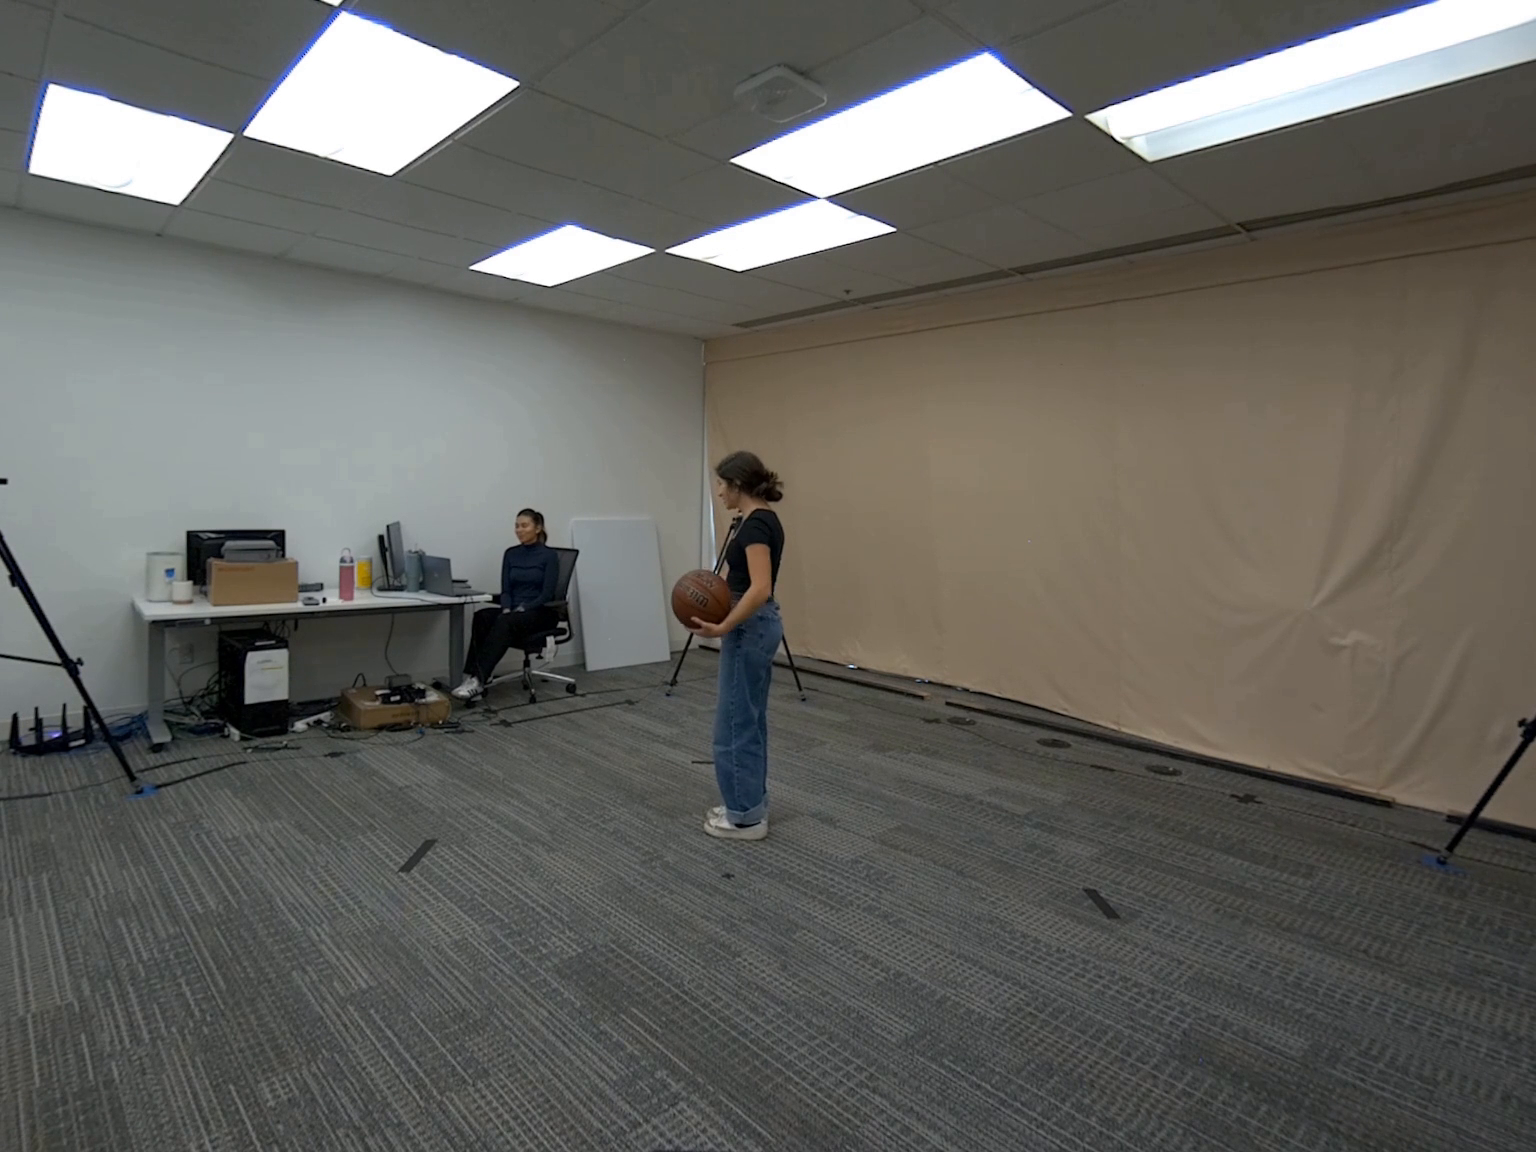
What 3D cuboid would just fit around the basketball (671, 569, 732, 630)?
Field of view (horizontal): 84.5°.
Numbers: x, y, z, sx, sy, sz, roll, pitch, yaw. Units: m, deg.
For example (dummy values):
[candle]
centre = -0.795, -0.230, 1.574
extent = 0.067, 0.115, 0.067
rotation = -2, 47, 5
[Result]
[basketball]
centre = -0.265, 0.095, 3.302
extent = 0.236, 0.235, 0.237
rotation = 1, 4, -1
